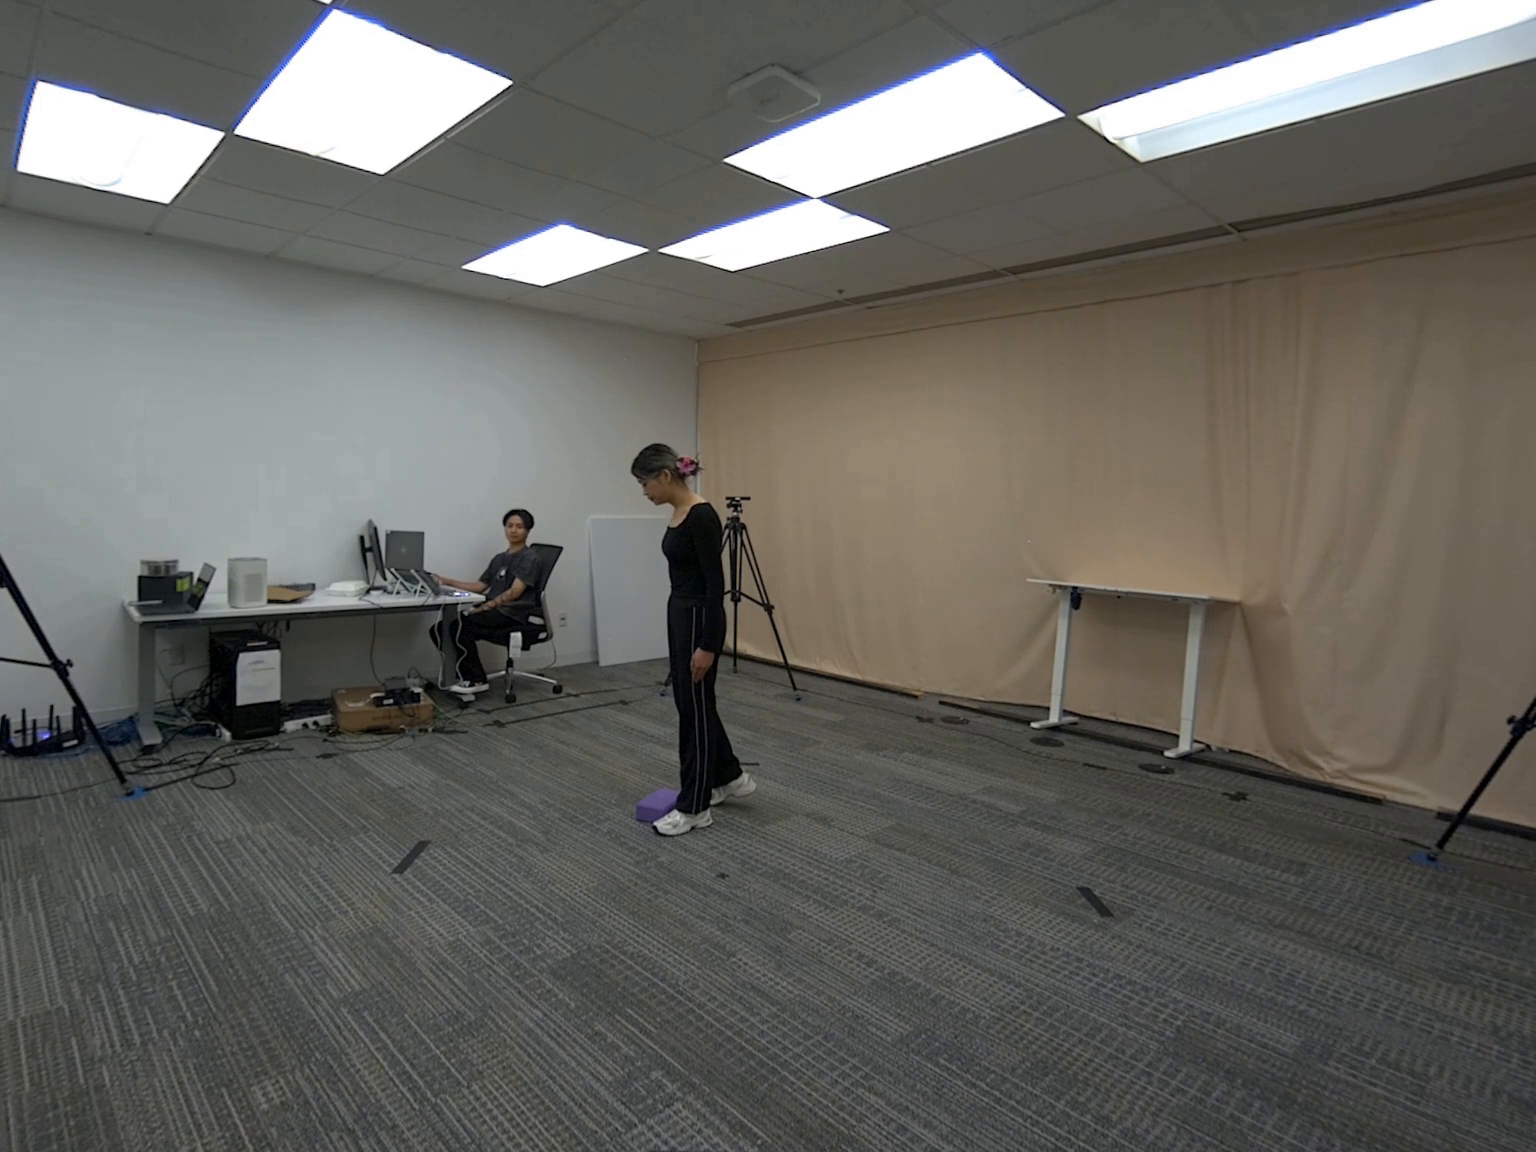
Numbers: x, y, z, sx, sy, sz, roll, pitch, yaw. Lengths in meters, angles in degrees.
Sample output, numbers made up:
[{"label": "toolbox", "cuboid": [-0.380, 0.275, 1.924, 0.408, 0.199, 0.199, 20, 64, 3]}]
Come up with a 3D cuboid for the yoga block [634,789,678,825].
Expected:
[{"label": "yoga block", "cuboid": [-0.462, 1.001, 3.683, 0.151, 0.076, 0.226, 4, 6, 21]}]
